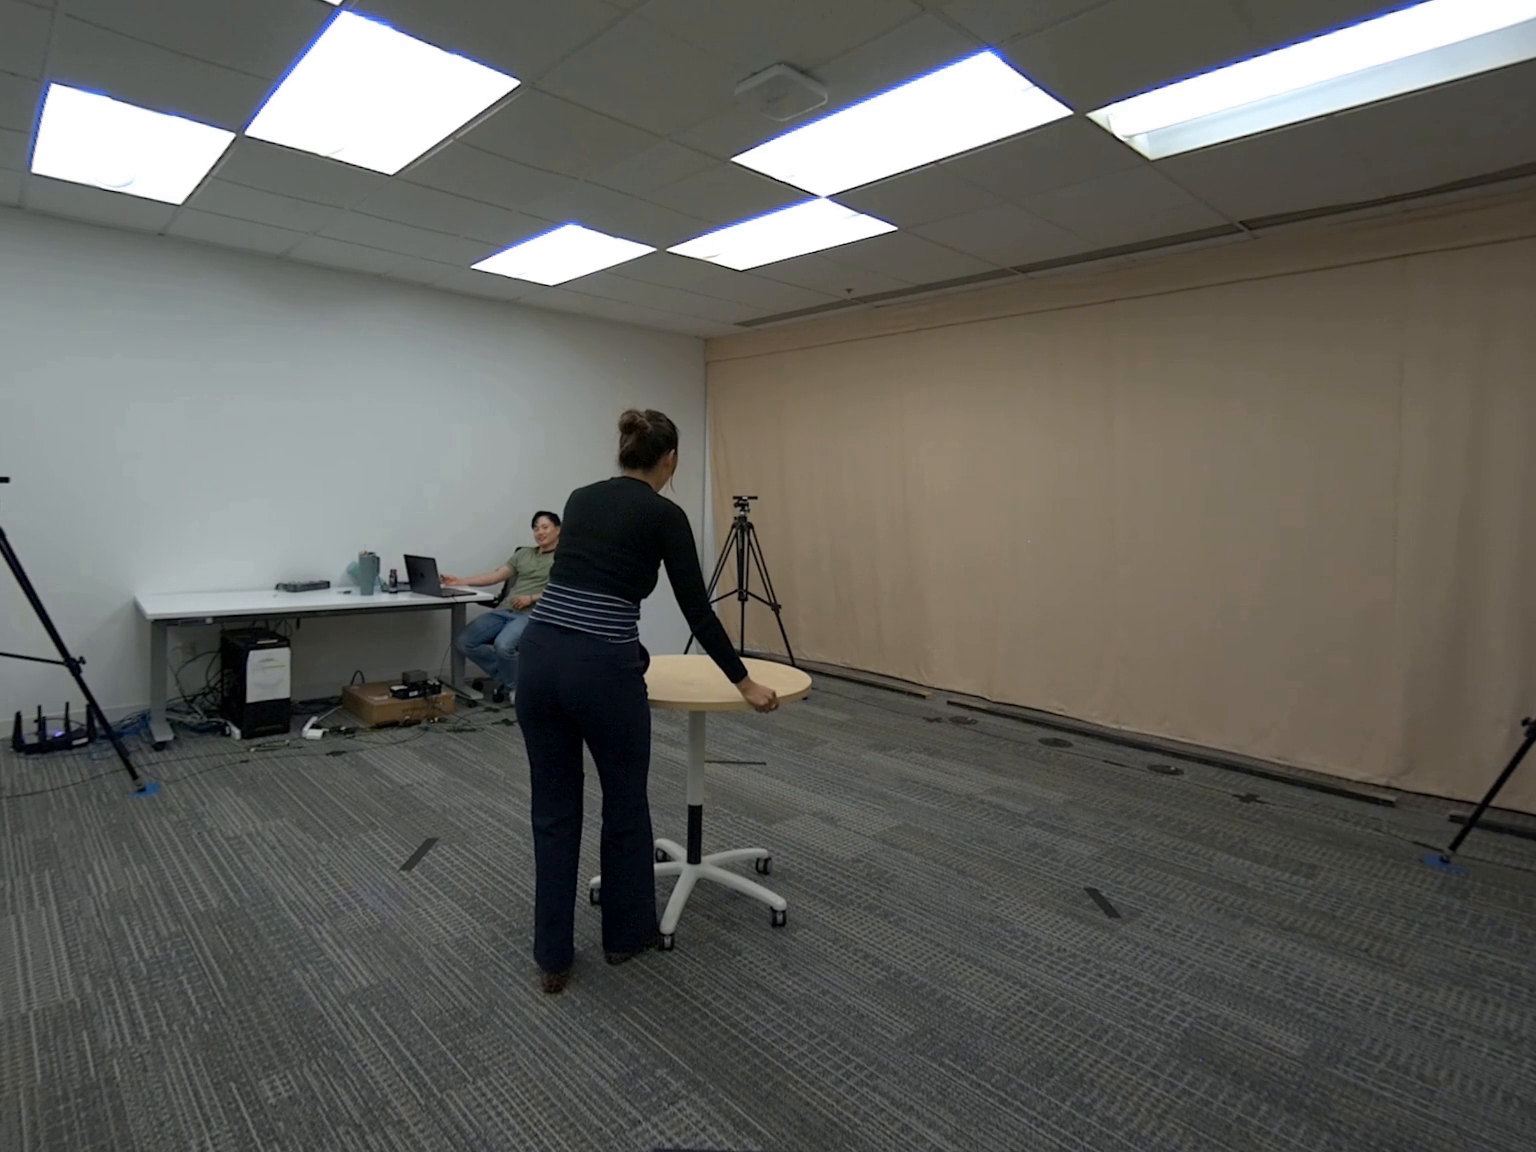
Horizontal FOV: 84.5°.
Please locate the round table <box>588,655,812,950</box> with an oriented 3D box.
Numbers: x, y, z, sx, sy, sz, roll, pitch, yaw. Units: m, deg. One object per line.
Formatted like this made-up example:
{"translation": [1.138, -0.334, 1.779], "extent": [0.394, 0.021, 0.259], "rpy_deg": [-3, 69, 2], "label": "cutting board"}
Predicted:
{"translation": [-0.250, 0.732, 2.871], "extent": [0.763, 0.792, 0.767], "rpy_deg": [1, 4, -1], "label": "round table"}
